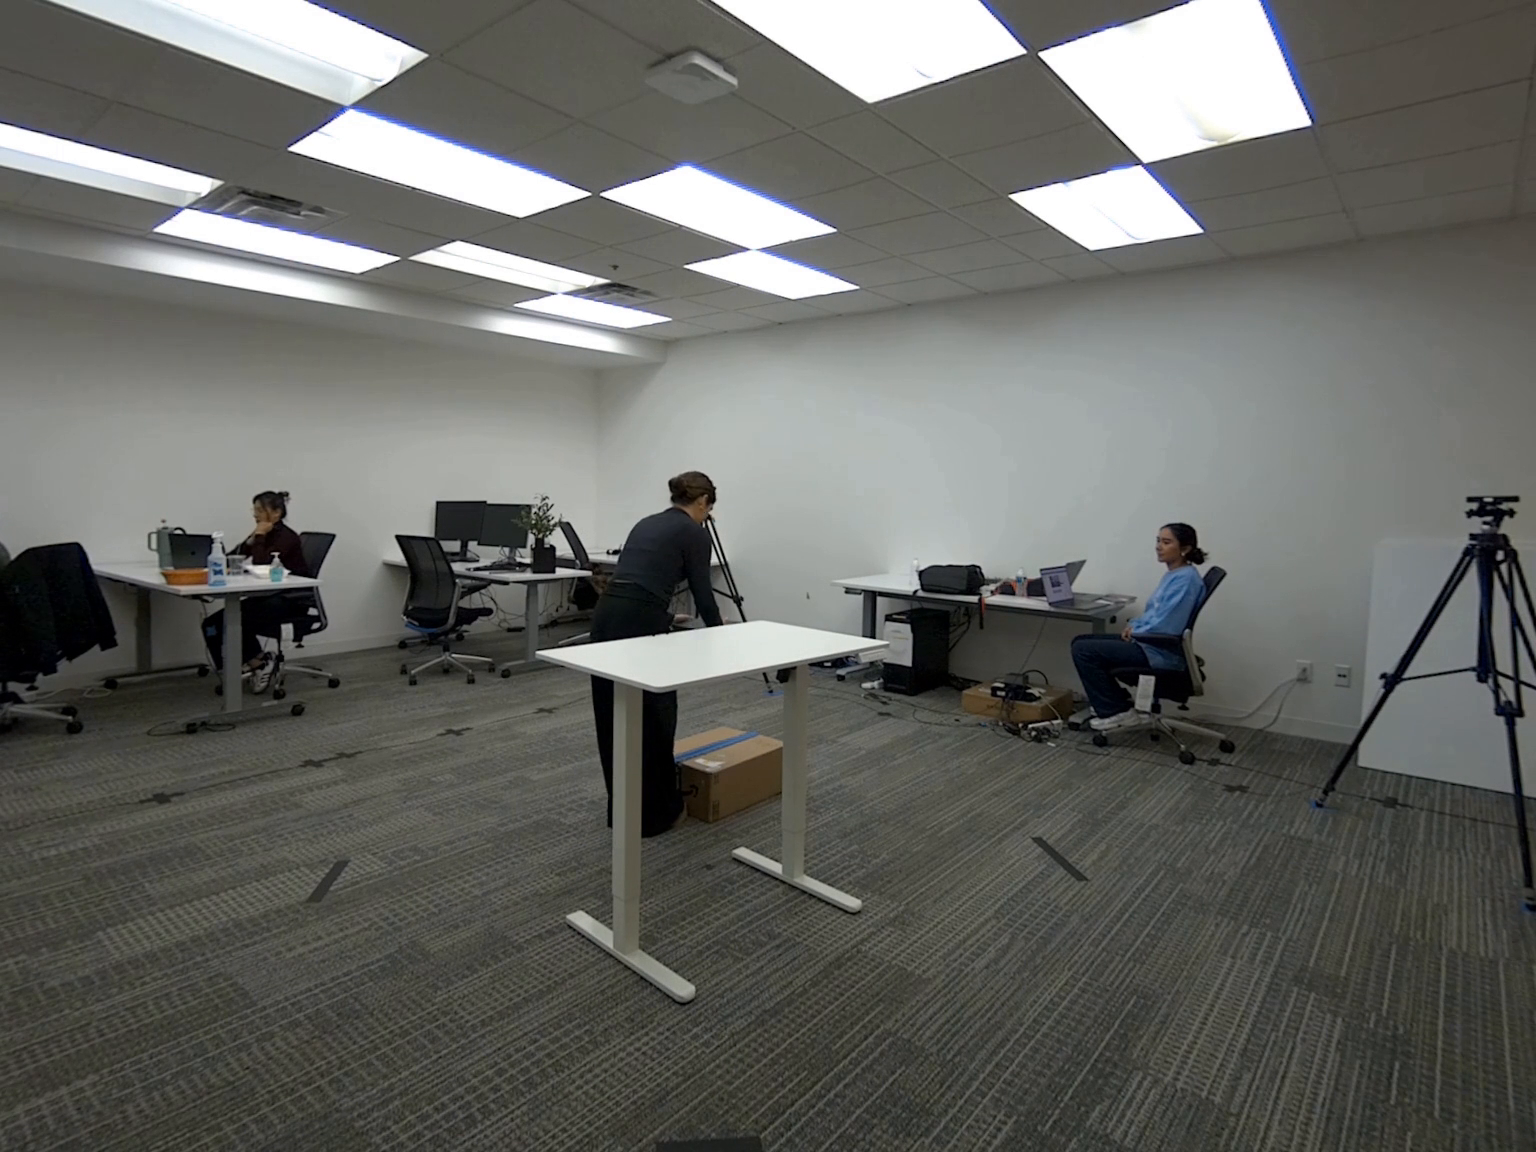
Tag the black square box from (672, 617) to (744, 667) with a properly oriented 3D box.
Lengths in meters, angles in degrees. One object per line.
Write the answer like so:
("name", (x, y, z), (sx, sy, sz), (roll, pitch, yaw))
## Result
("black square box", (-0.273, 0.285, 3.777), (0.236, 0.154, 0.211), (7, 13, 42))
